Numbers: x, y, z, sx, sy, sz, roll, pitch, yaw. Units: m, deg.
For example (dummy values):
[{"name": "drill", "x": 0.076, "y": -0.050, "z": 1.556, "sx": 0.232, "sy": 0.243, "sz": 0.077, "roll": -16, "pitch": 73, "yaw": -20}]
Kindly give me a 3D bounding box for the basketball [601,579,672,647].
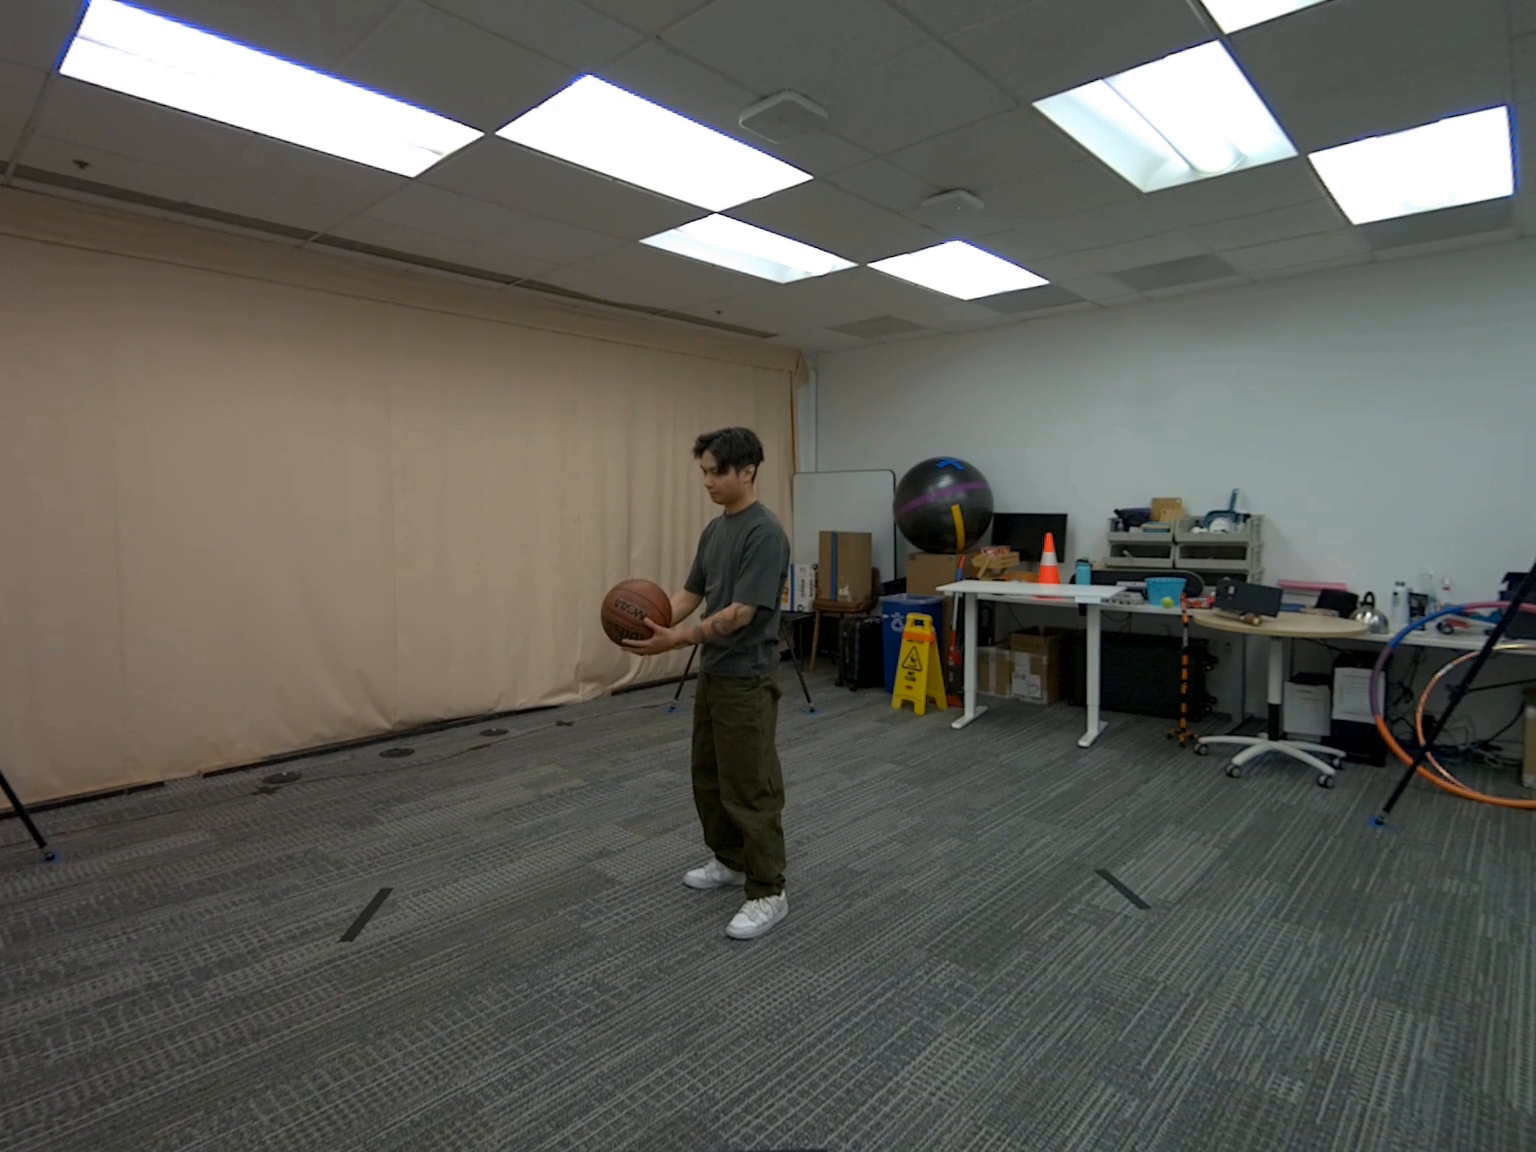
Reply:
[{"name": "basketball", "x": -0.432, "y": 0.131, "z": 2.837, "sx": 0.236, "sy": 0.235, "sz": 0.237, "roll": 0, "pitch": 4, "yaw": -2}]
